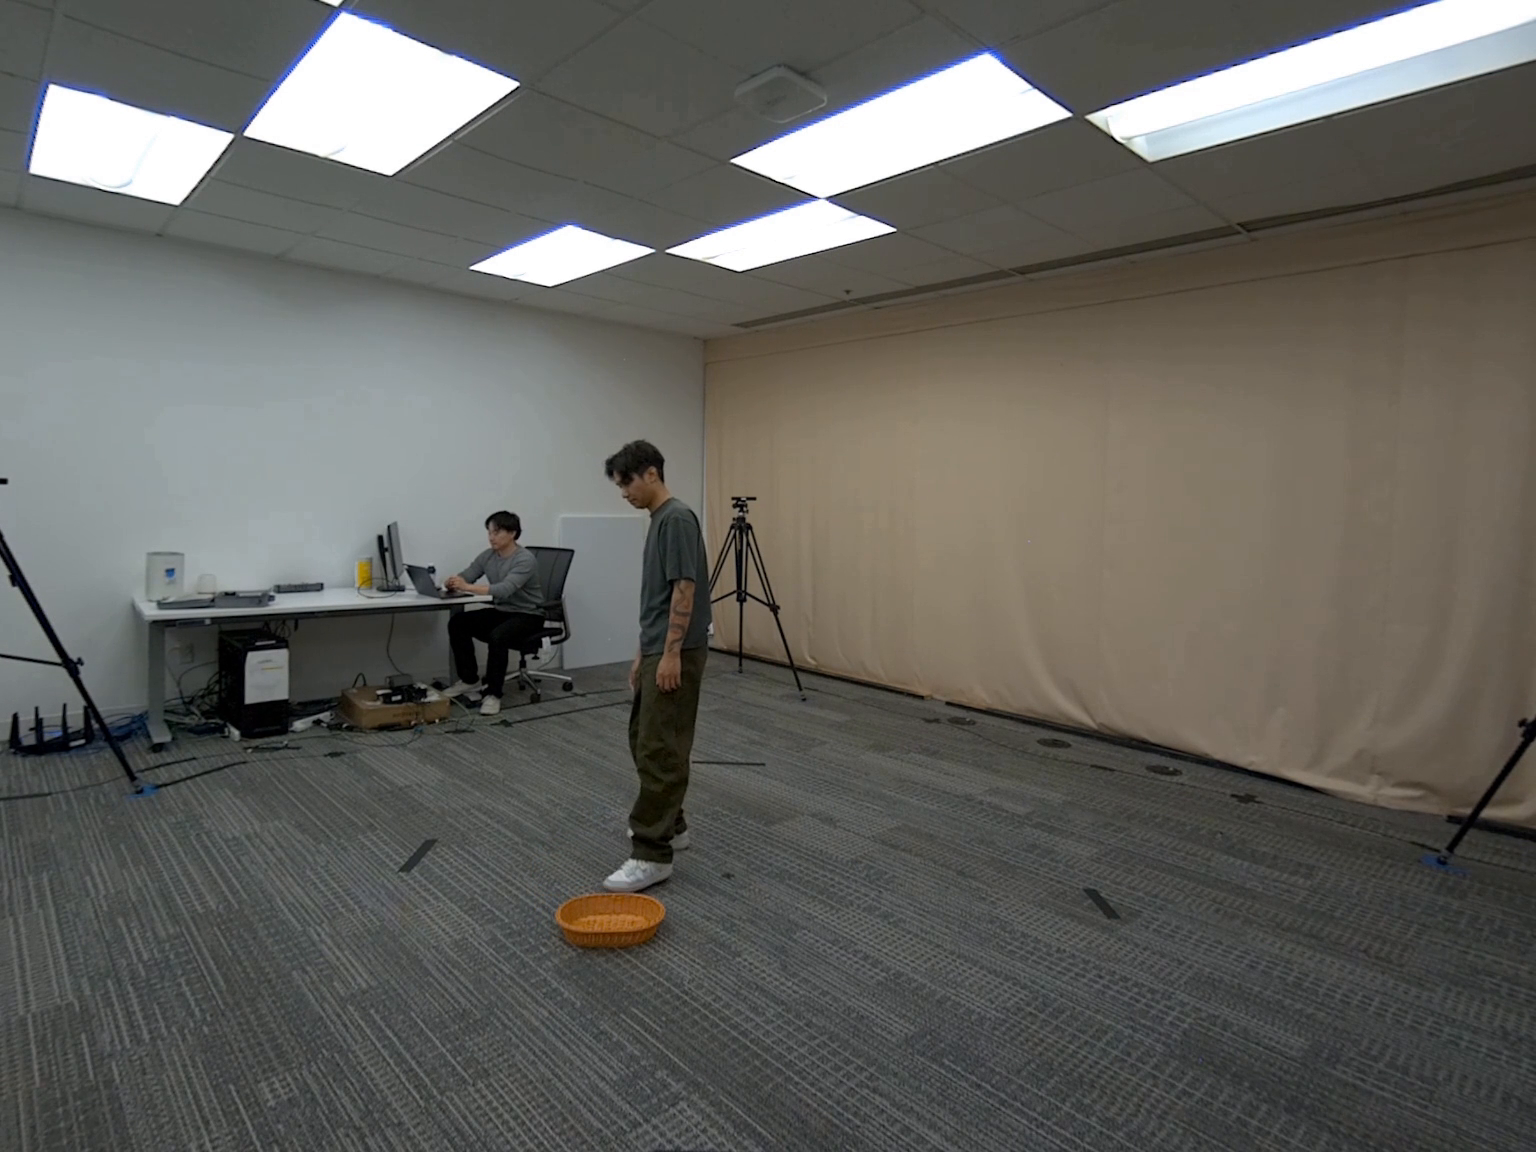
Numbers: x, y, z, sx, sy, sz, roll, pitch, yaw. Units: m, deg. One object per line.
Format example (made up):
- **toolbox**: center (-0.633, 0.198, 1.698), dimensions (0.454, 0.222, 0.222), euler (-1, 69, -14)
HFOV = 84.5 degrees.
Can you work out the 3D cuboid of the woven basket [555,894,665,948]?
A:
- **woven basket**: center (-0.512, 1.104, 2.681), dimensions (0.349, 0.073, 0.254), euler (1, 5, -3)
